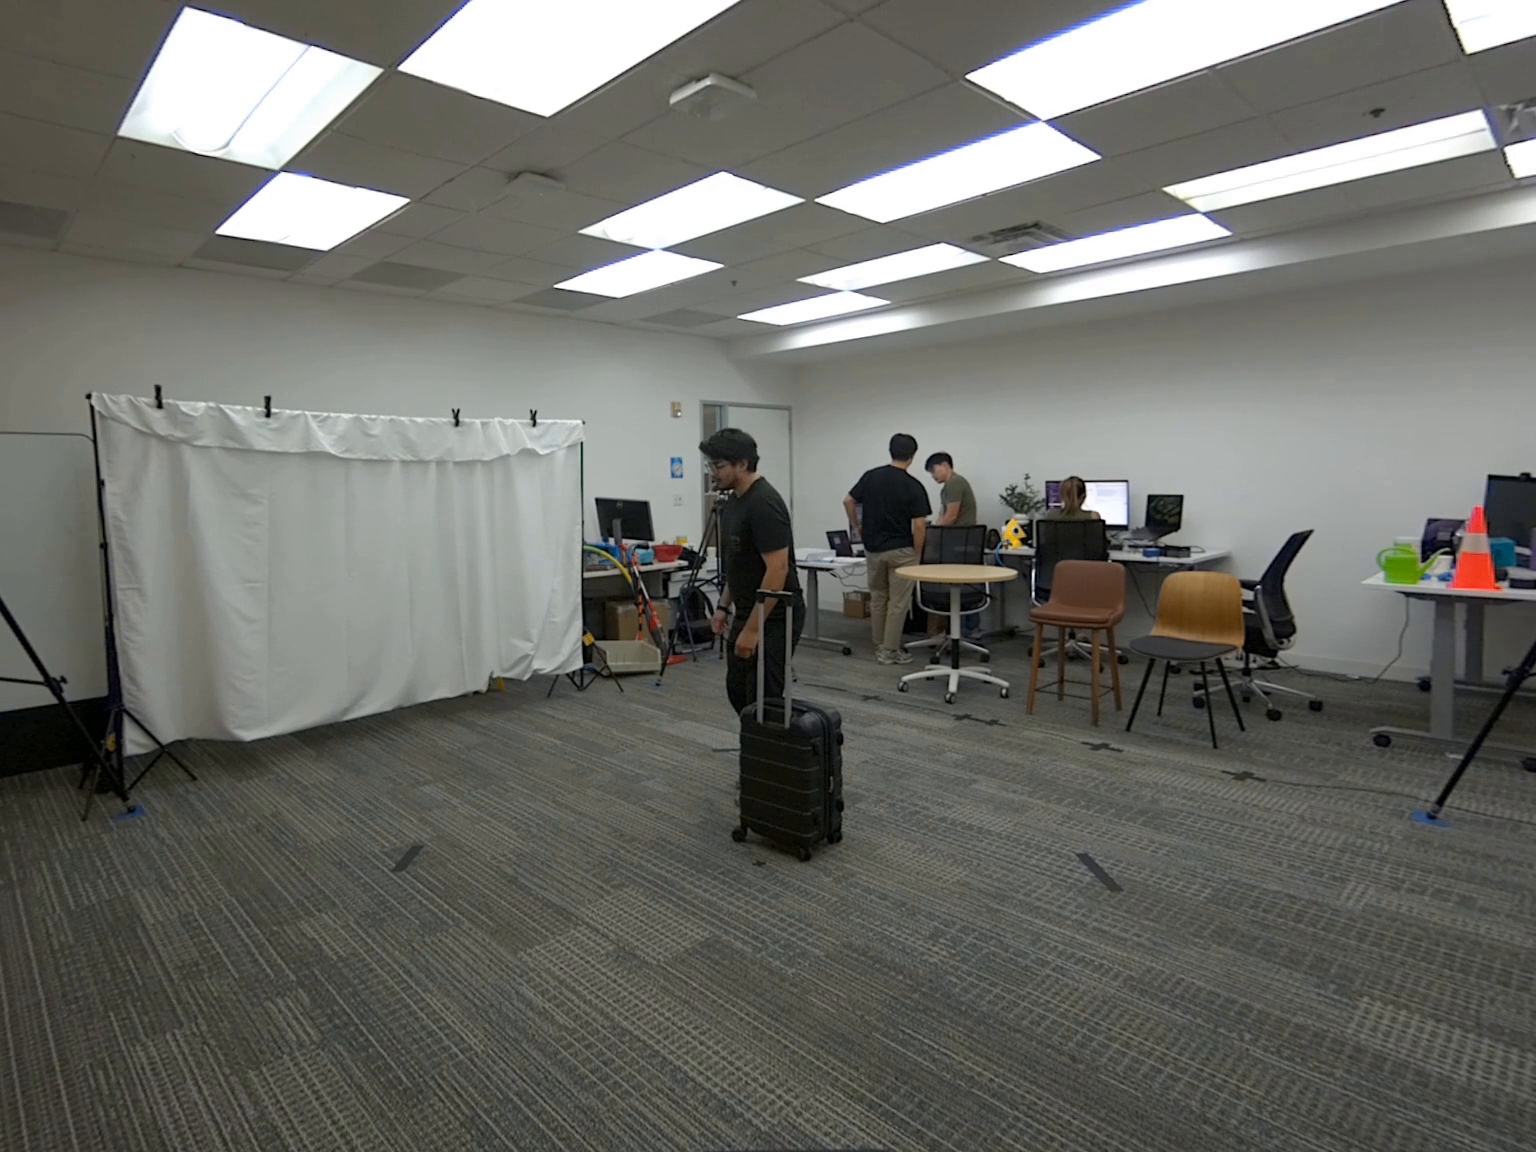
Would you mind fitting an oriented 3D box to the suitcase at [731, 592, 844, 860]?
[{"bbox_3d":[0.092,0.552,3.269,0.396,0.976,0.250,4,4,39],"label":"suitcase"}]
